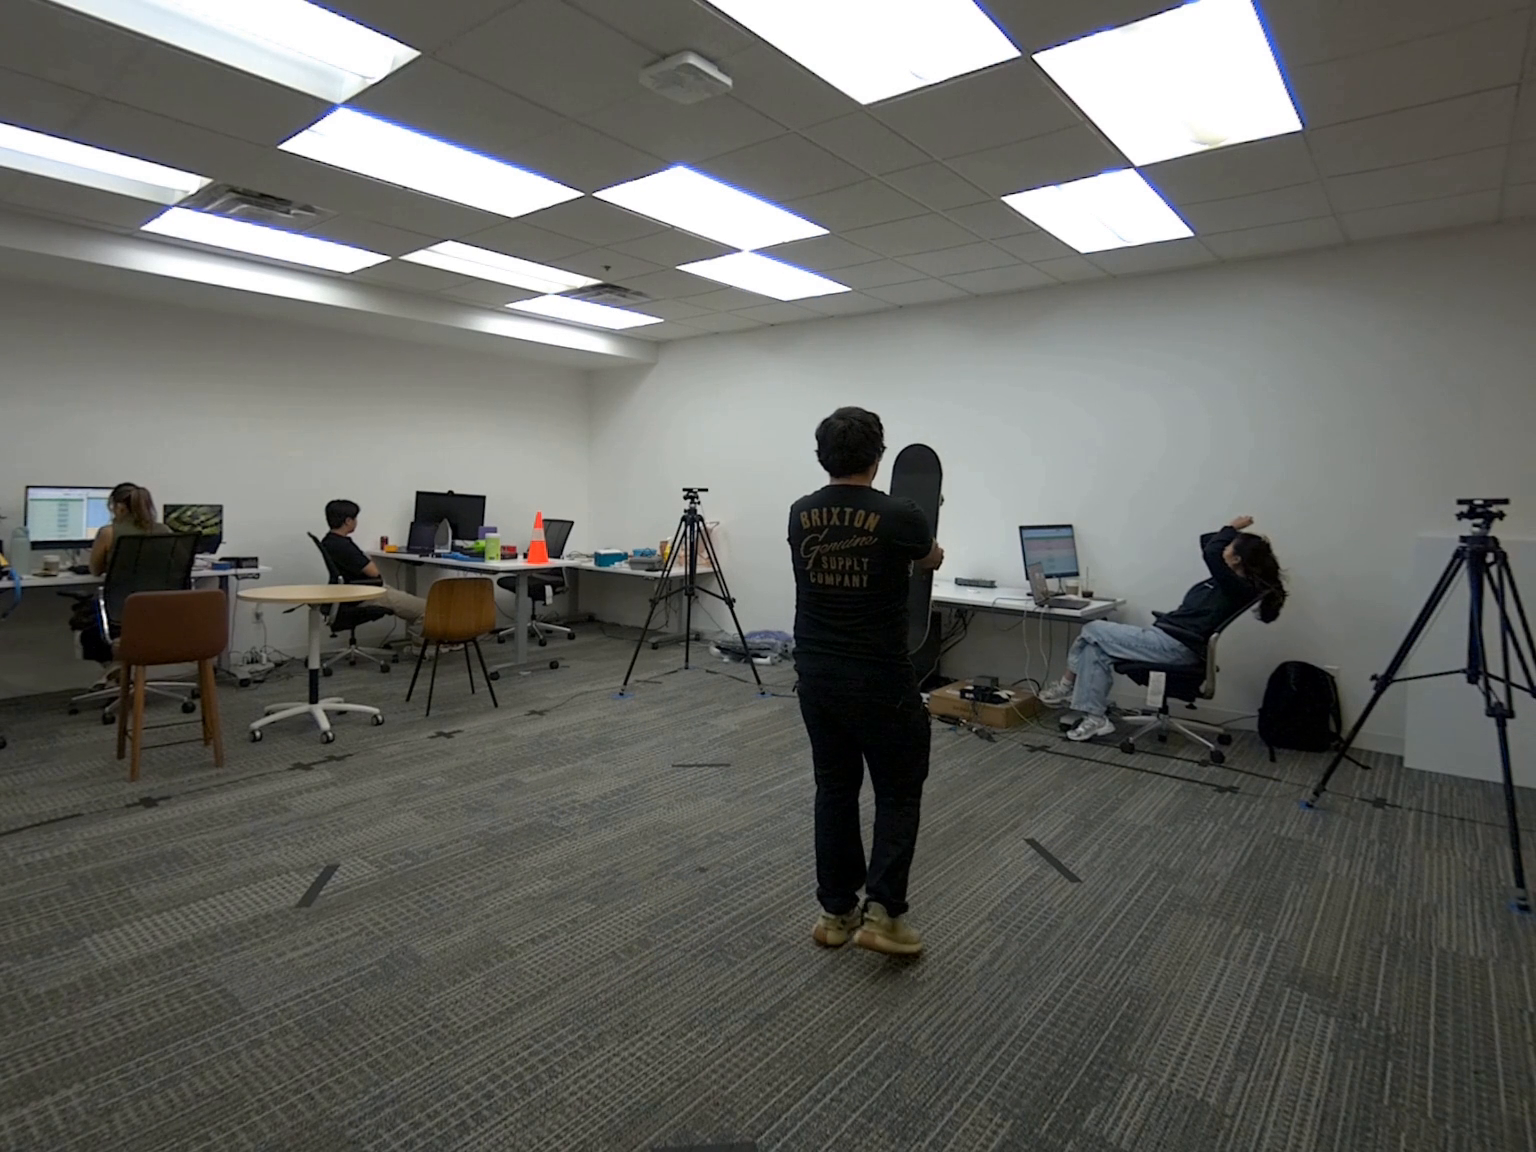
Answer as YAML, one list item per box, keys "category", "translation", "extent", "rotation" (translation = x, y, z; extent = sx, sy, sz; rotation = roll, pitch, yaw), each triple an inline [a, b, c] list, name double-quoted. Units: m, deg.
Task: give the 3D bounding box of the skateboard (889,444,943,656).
- category: "skateboard"
  translation: [0.523, -0.098, 3.166]
  extent: [0.199, 0.791, 0.107]
  rotation: [2, -9, 26]
